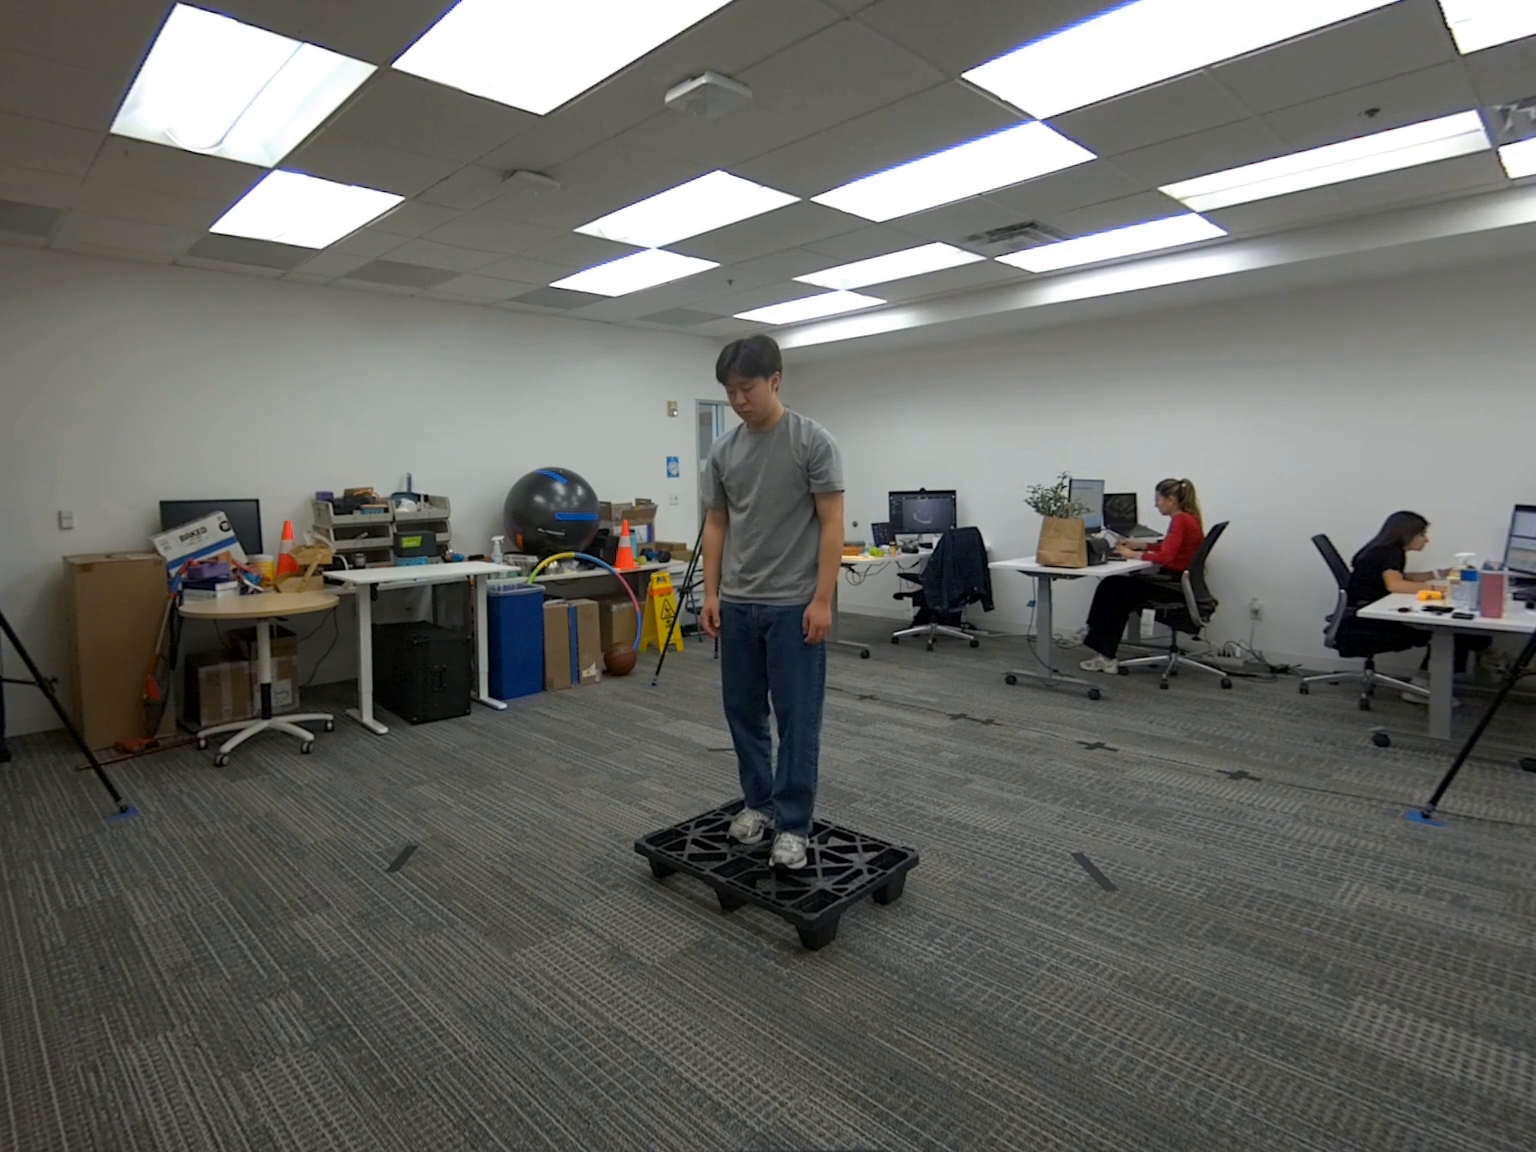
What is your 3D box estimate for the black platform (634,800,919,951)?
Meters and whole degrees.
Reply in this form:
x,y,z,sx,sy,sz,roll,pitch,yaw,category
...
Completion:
x,y,z,sx,sy,sz,roll,pitch,yaw,category
0.020,0.996,2.930,0.830,0.142,0.590,5,9,43,black platform
